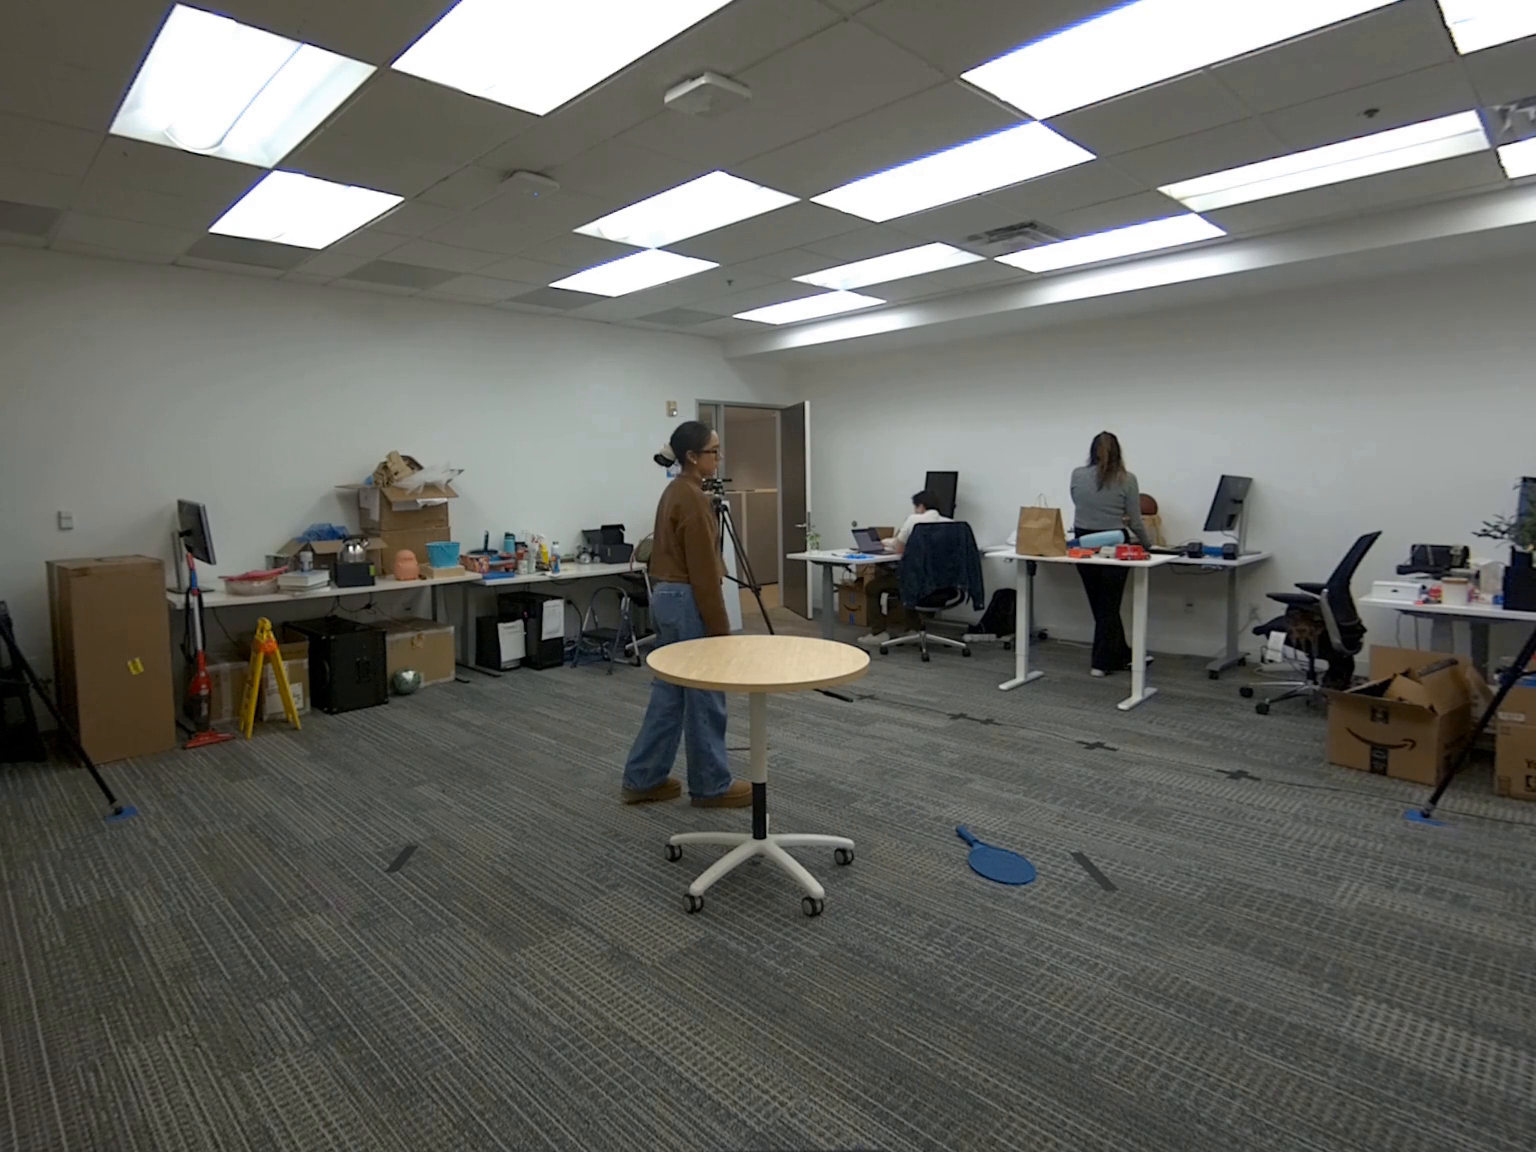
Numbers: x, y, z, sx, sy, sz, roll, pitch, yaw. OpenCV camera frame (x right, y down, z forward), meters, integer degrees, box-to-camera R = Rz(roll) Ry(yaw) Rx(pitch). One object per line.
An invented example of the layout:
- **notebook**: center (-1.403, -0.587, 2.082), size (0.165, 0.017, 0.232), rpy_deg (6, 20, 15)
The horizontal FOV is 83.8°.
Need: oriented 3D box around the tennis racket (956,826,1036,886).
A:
- **tennis racket**: center (0.813, 1.017, 3.120), size (0.211, 0.031, 0.441), rpy_deg (-2, 8, -14)
